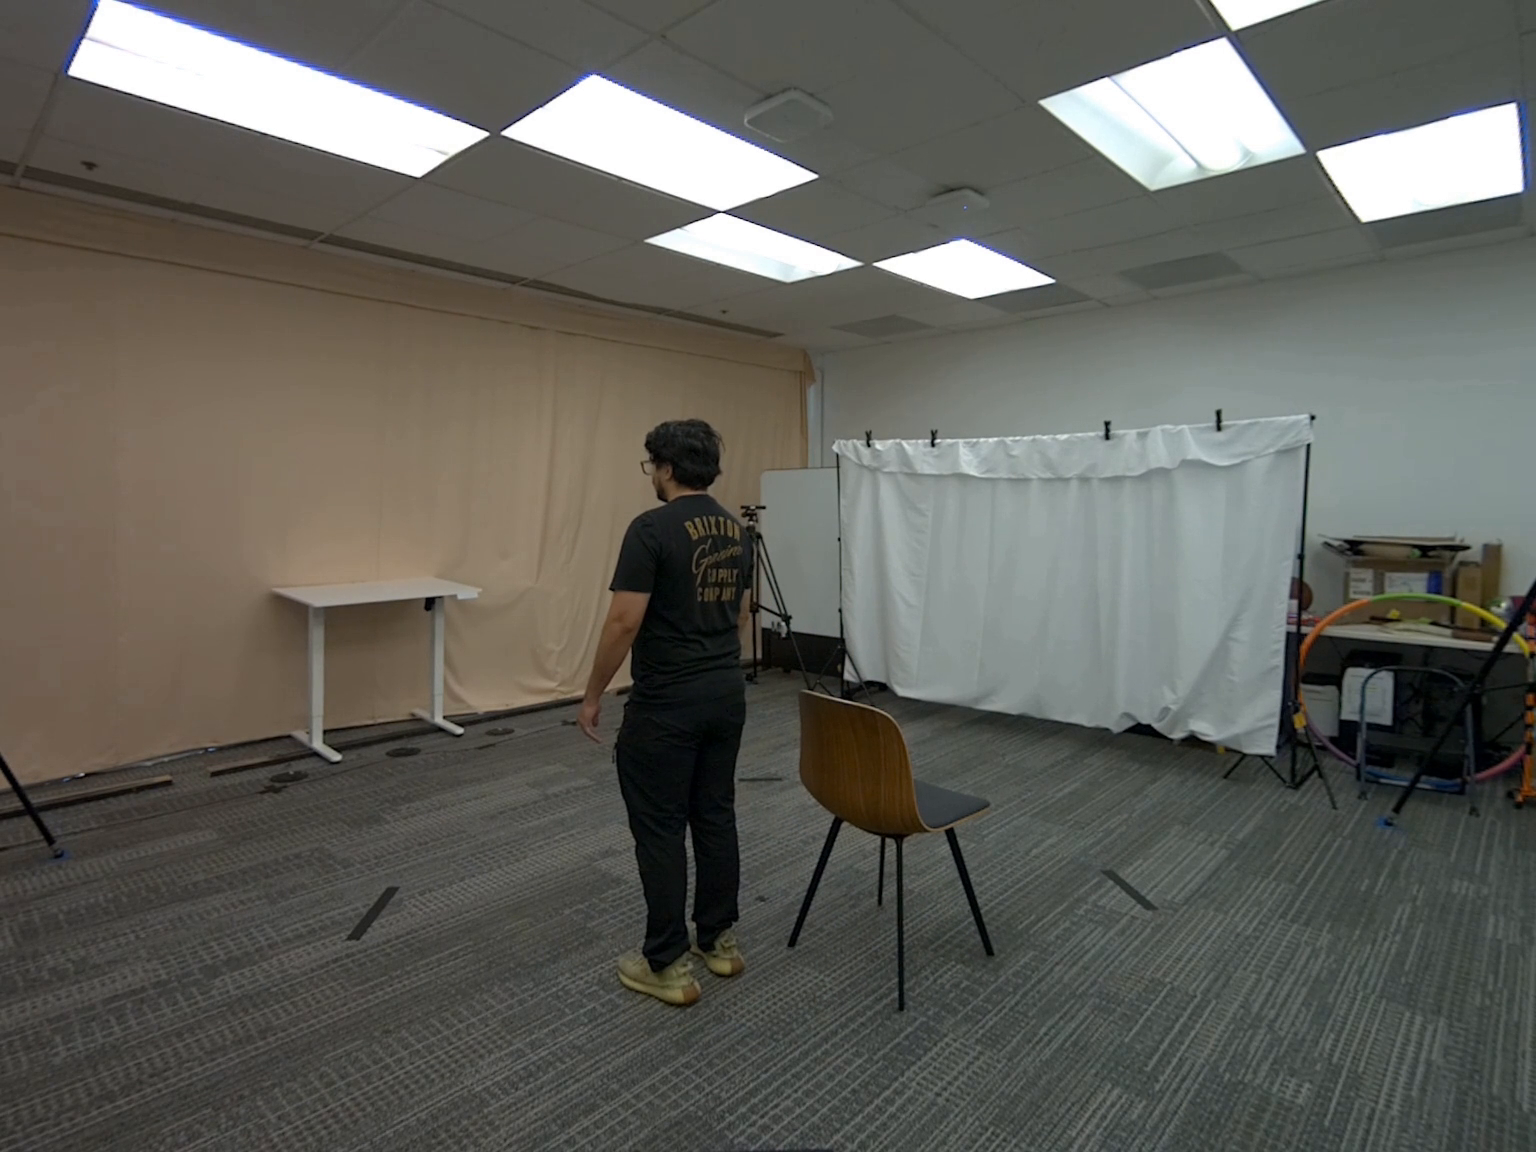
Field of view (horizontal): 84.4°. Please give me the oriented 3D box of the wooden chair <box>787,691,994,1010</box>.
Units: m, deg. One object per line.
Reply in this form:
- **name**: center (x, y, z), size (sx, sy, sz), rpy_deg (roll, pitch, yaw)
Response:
- **wooden chair**: center (0.391, 0.747, 2.605), size (0.508, 0.874, 0.494), rpy_deg (-9, 8, -42)
